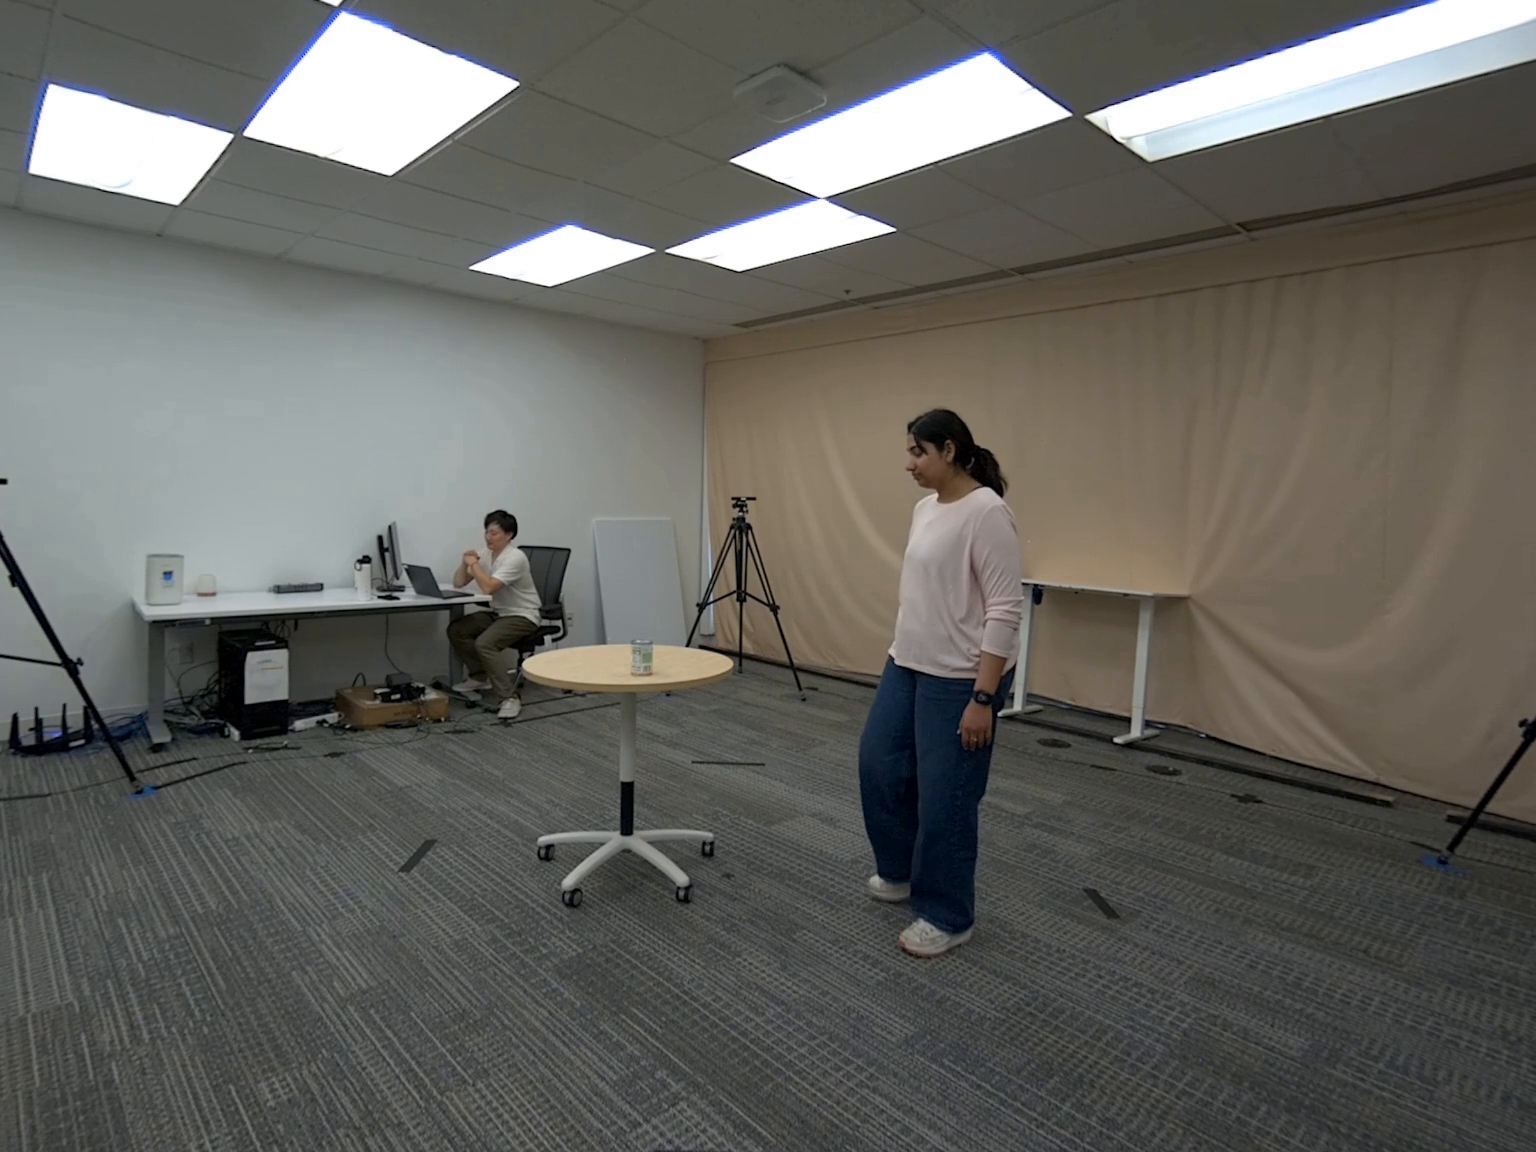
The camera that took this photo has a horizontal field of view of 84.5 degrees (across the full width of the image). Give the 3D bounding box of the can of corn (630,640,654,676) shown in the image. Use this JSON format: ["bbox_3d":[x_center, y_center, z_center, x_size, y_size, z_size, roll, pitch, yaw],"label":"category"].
[{"bbox_3d":[-0.431,0.277,2.871,0.074,0.110,0.074,2,7,-2],"label":"can of corn"}]
